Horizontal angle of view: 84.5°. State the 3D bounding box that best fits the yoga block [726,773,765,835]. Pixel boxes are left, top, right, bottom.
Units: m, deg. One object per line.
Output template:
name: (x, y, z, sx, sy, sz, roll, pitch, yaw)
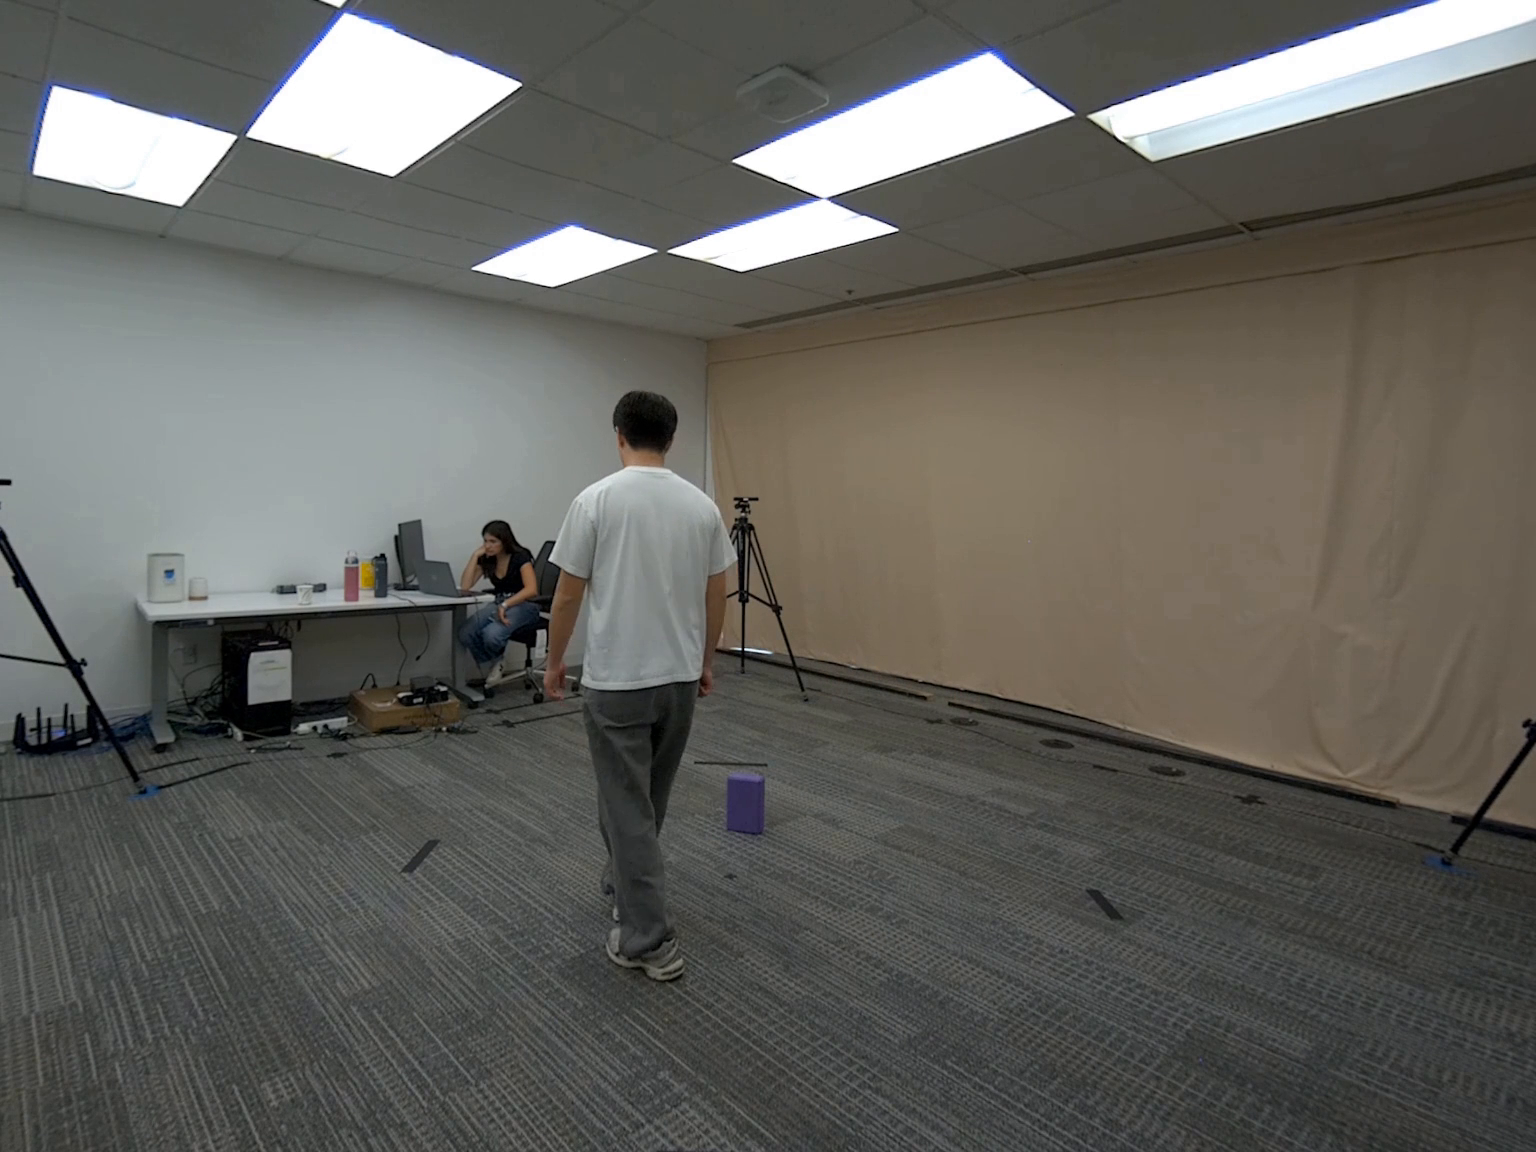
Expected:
yoga block: (-0.105, 0.958, 3.538, 0.151, 0.229, 0.075, 3, 3, 17)
